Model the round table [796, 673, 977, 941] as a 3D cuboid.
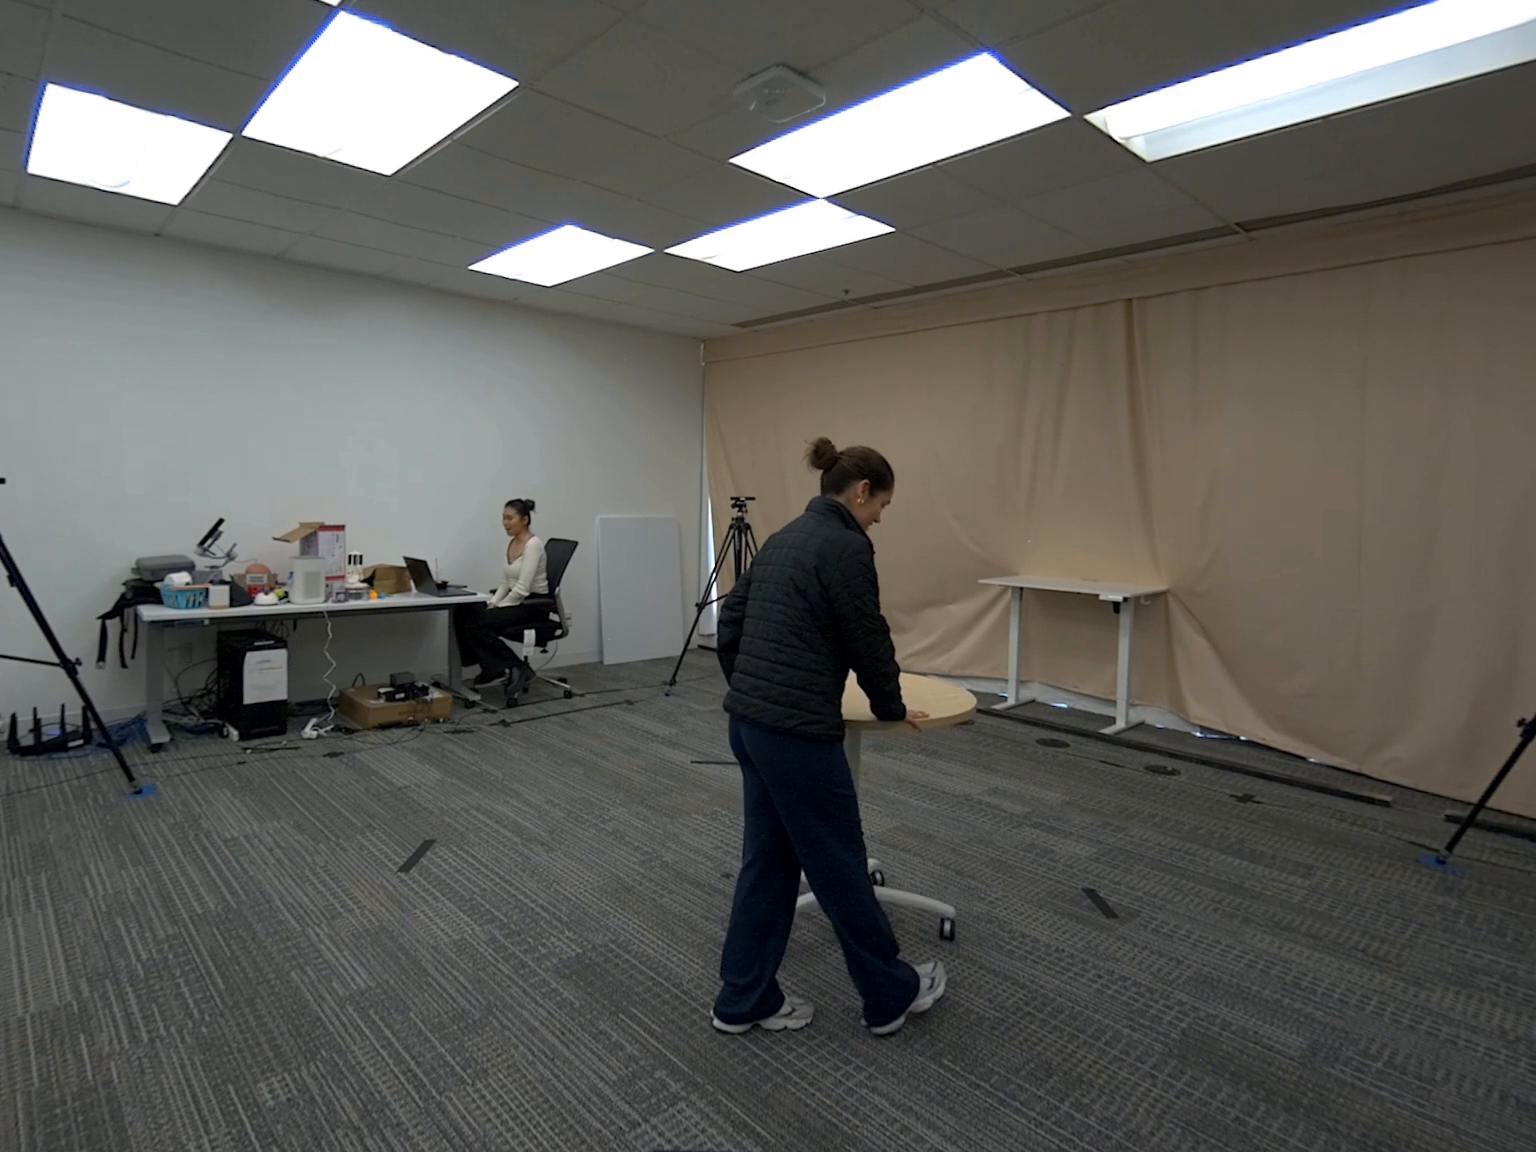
[{"bbox_3d":[0.265,0.763,2.717,0.784,0.785,0.787,1,3,-1],"label":"round table"}]
